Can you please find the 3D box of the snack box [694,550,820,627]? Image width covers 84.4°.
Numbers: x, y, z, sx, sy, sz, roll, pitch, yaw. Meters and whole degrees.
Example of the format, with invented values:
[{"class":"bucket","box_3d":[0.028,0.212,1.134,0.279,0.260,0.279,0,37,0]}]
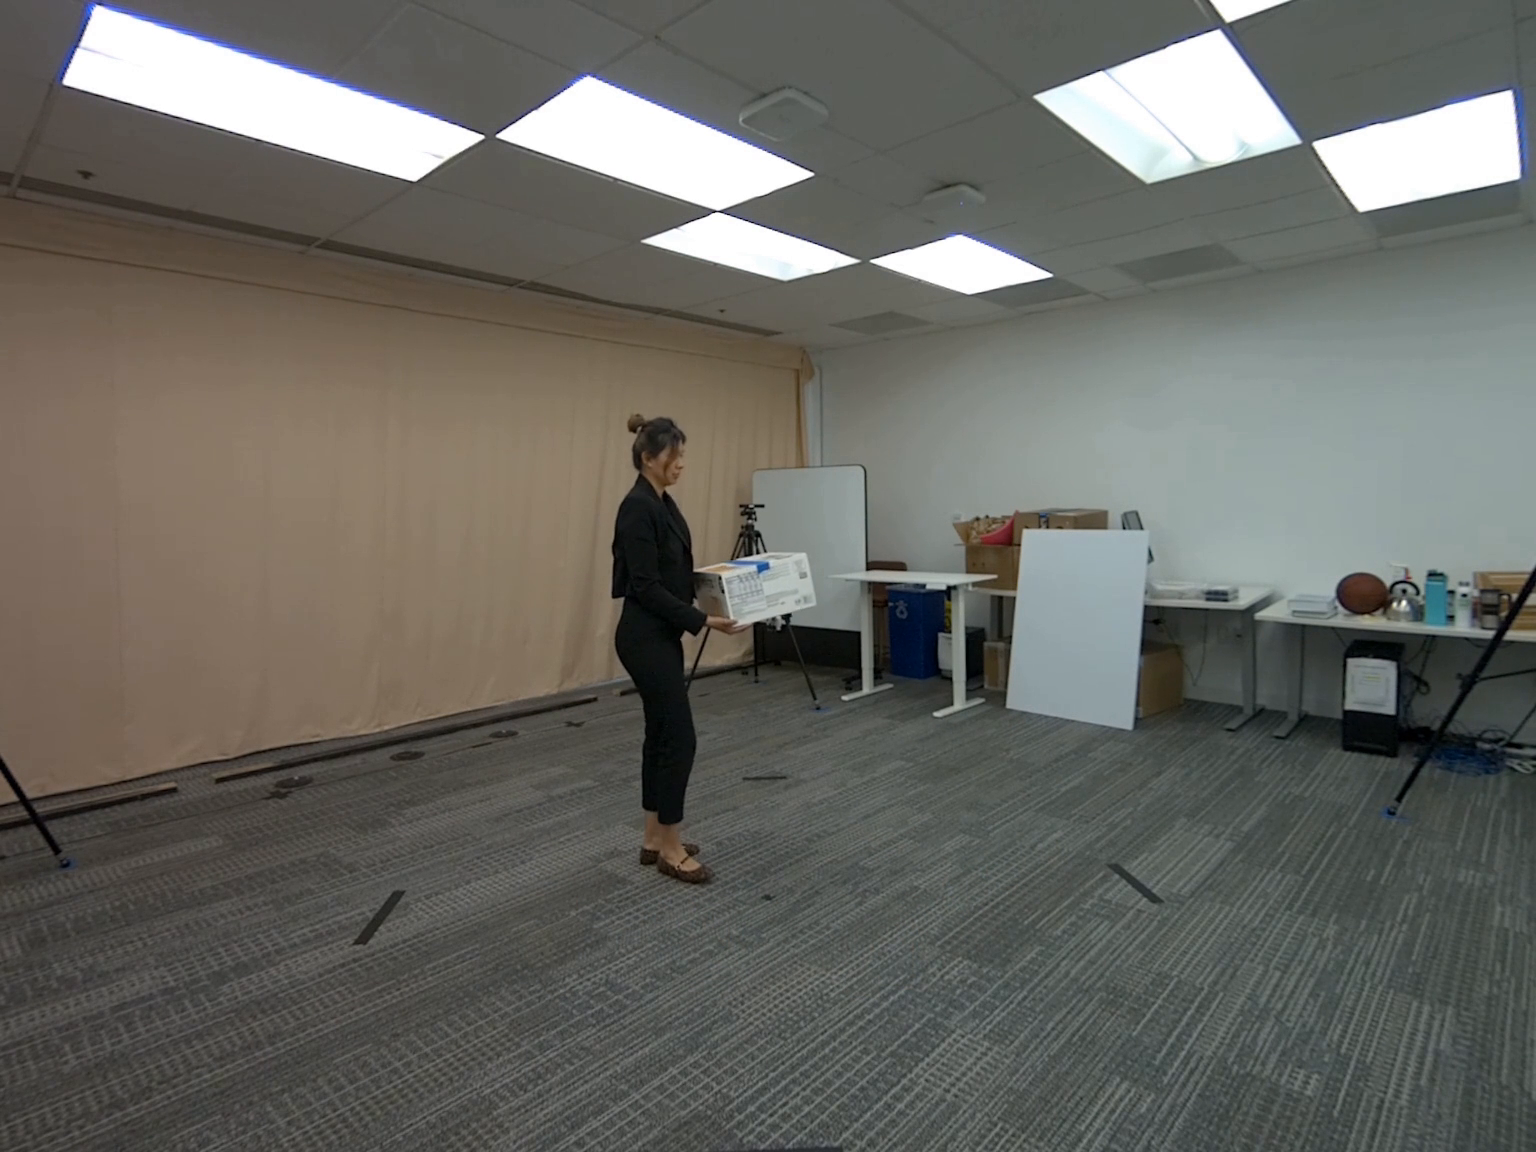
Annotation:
[{"class":"snack box","box_3d":[-0.062,0.043,3.233,0.335,0.205,0.413,-15,7,-19]}]
